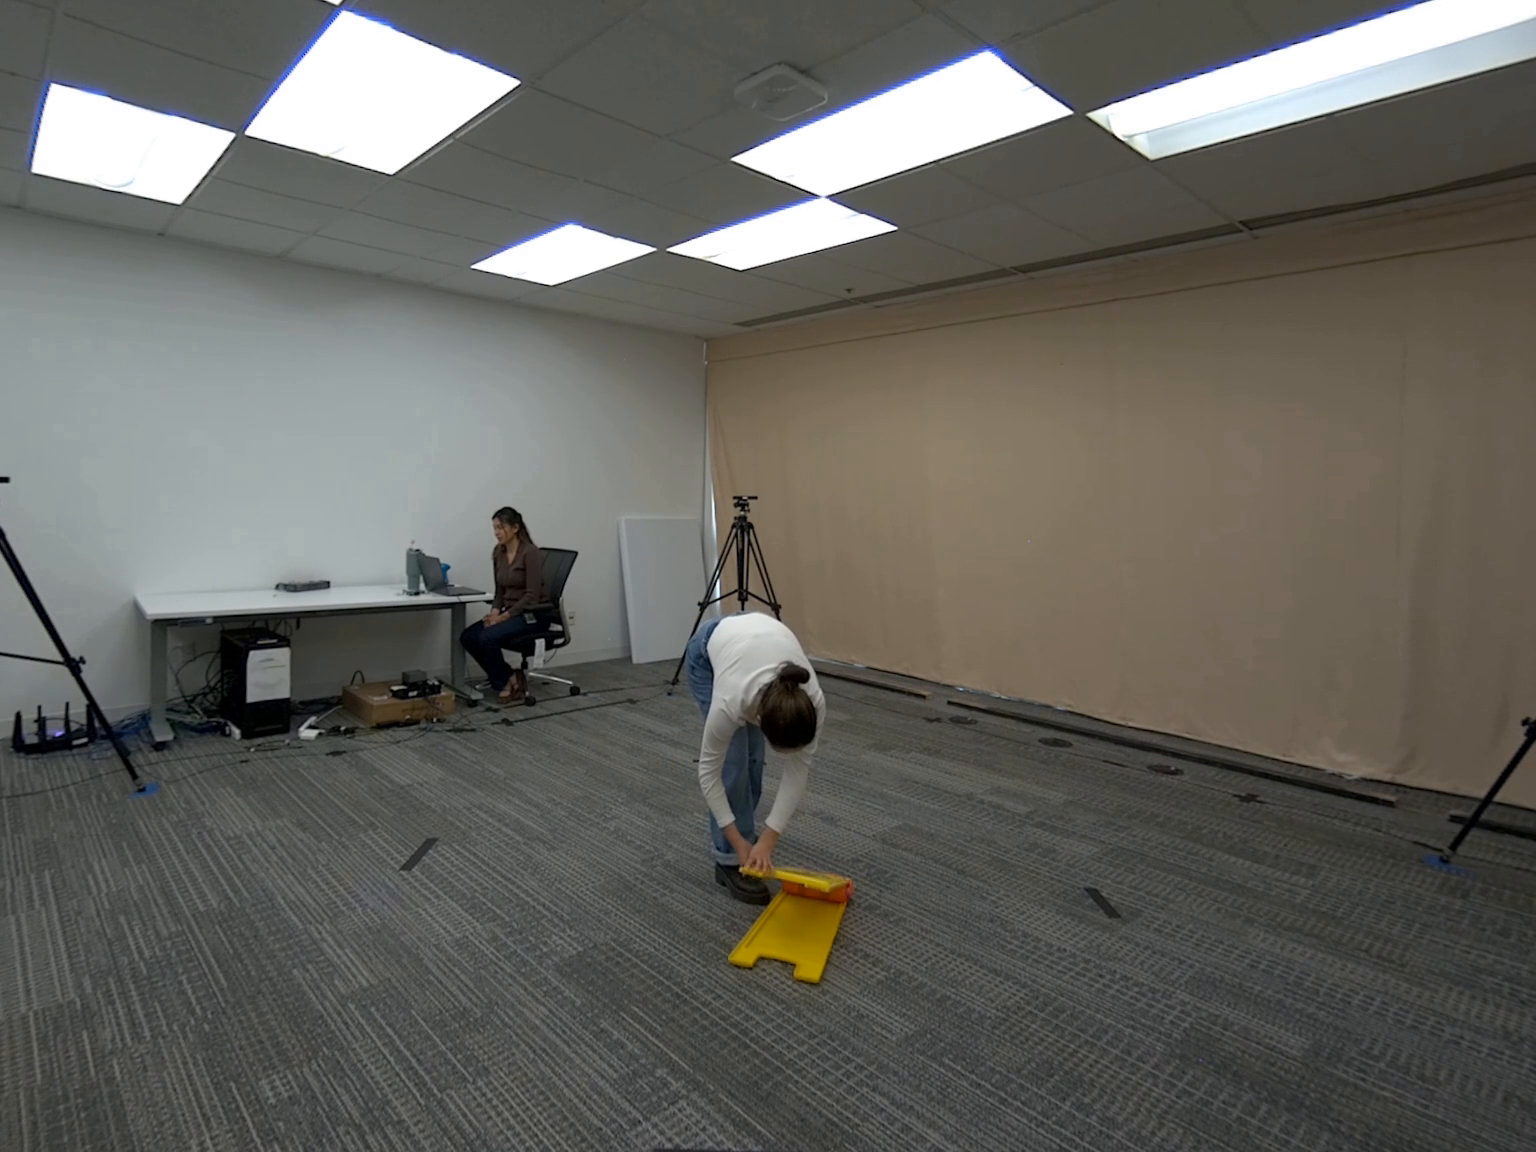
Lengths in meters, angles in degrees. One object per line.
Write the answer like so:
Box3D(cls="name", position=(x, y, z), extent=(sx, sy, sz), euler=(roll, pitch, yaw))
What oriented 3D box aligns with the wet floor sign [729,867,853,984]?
Box3D(cls="wet floor sign", position=(0.115, 1.057, 2.761), extent=(0.286, 0.291, 0.634), euler=(4, -5, 18))
